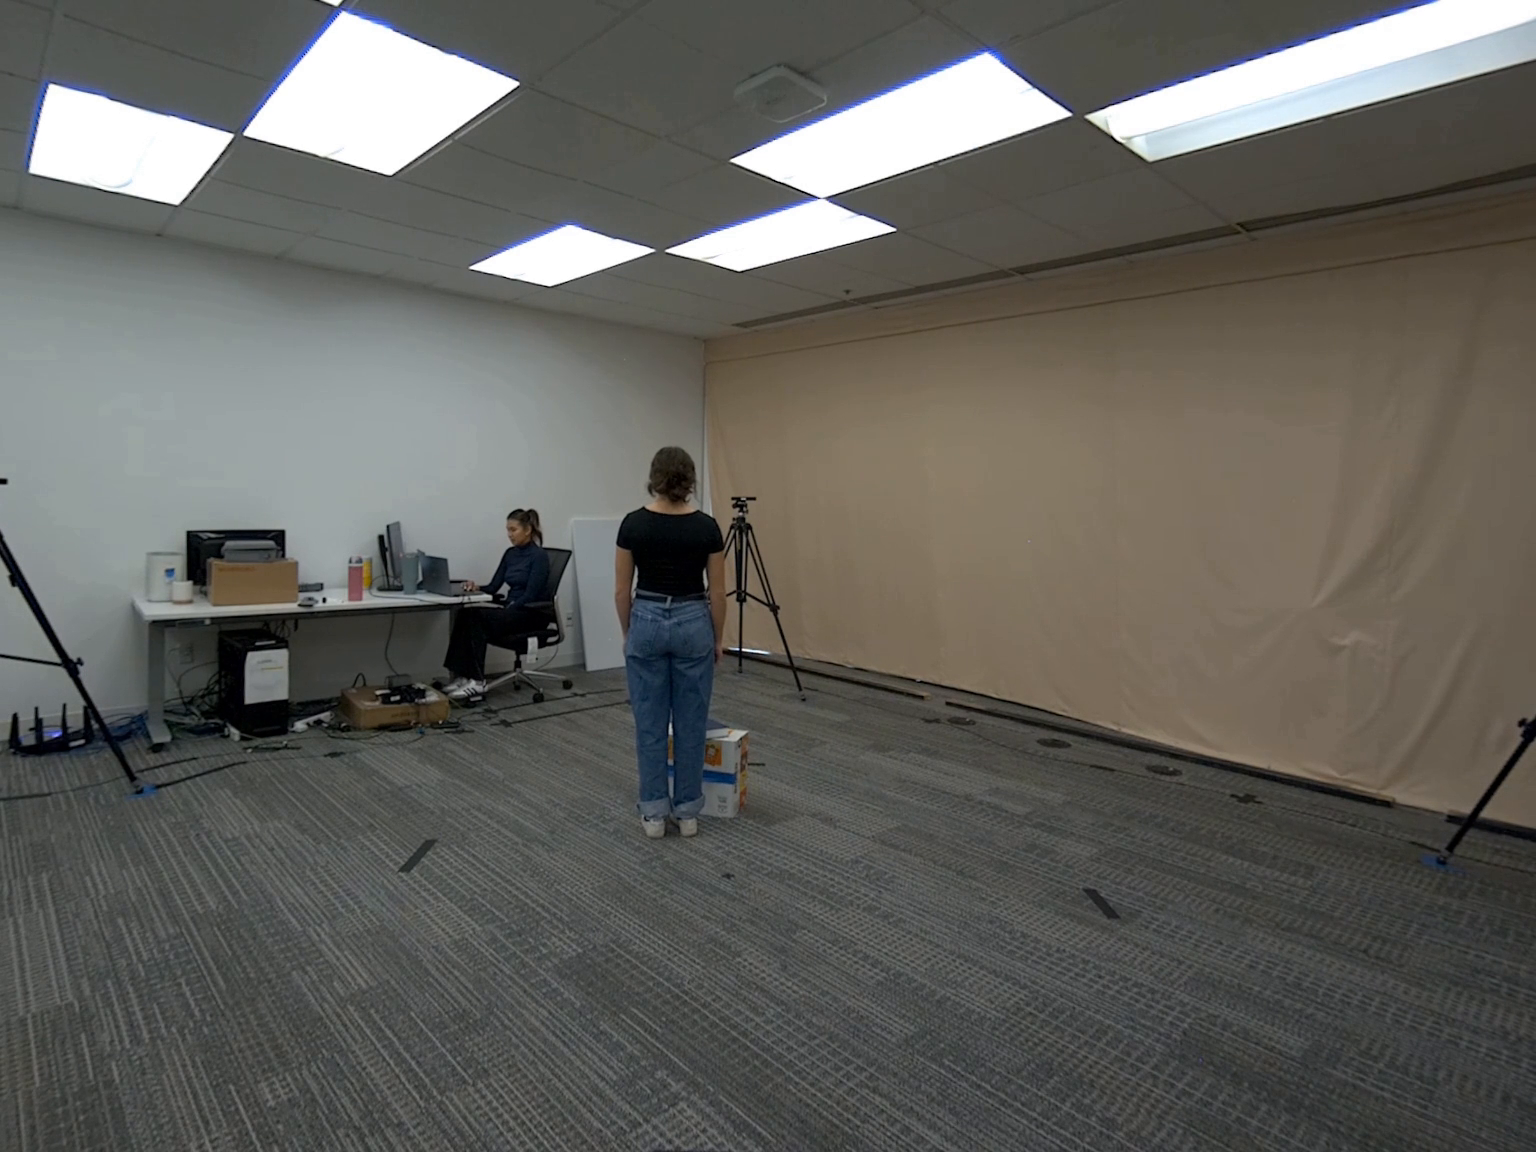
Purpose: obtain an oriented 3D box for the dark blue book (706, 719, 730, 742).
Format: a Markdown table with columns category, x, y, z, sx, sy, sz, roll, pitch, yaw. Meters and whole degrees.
| category | x | y | z | sx | sy | sz | roll | pitch | yaw |
| --- | --- | --- | --- | --- | --- | --- | --- | --- | --- |
| dark blue book | -0.309 | 0.684 | 3.798 | 0.160 | 0.045 | 0.251 | -1 | 4 | -34 |
